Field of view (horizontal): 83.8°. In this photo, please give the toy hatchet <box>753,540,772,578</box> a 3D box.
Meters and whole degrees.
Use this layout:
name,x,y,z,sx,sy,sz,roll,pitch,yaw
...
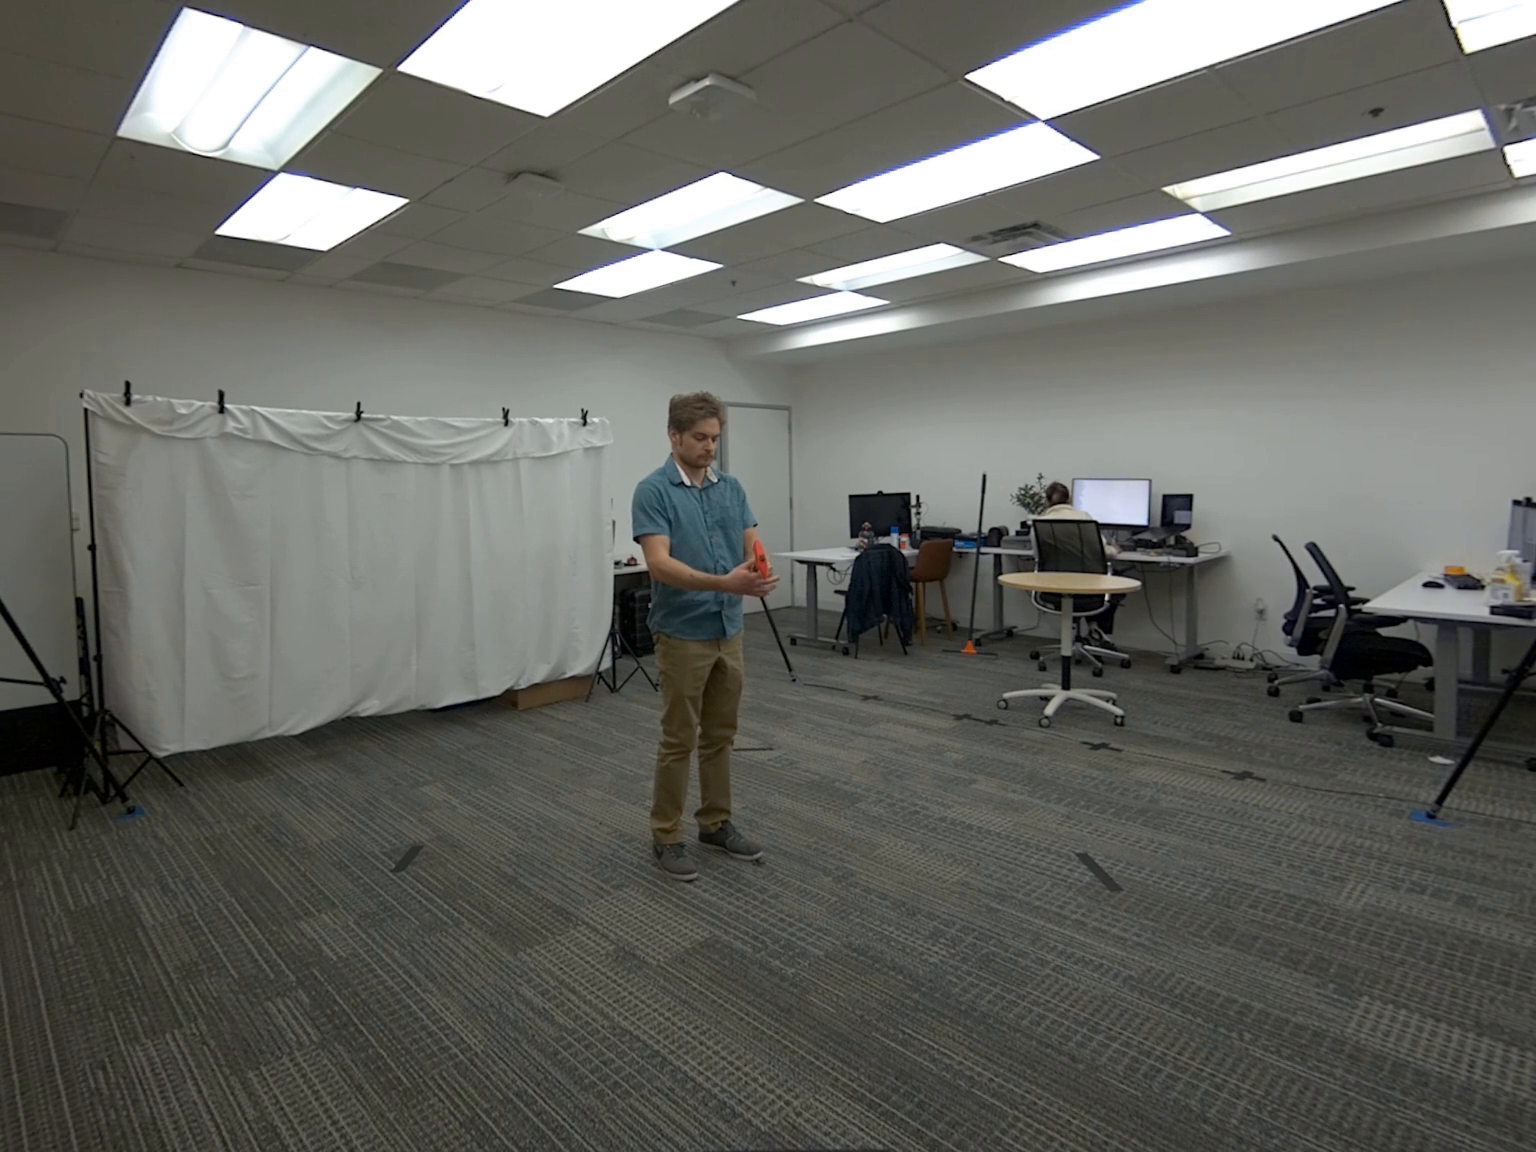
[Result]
name,x,y,z,sx,sy,sz,roll,pitch,yaw
toy hatchet,-0.033,-0.061,2.809,0.029,0.130,0.273,-10,6,-11
